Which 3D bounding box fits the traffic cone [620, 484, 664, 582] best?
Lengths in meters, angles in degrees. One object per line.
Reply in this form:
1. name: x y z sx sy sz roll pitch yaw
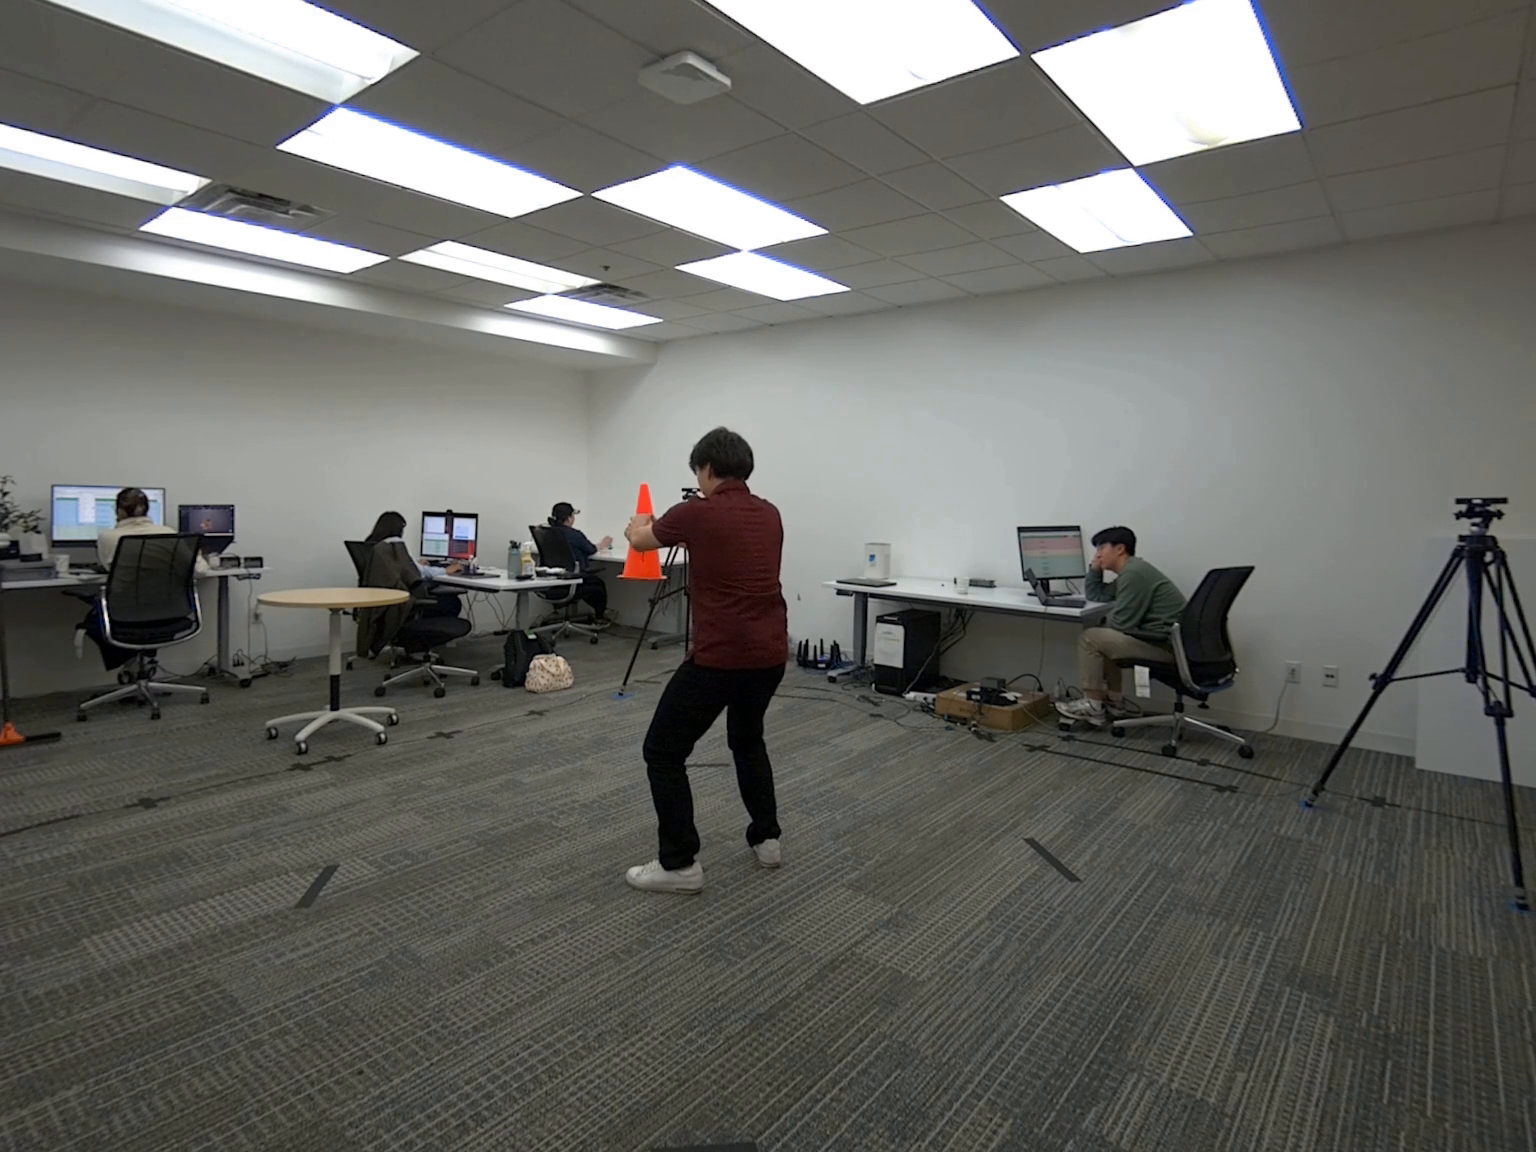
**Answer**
1. traffic cone: -0.522 -0.183 3.462 0.203 0.383 0.205 -1 2 -1
